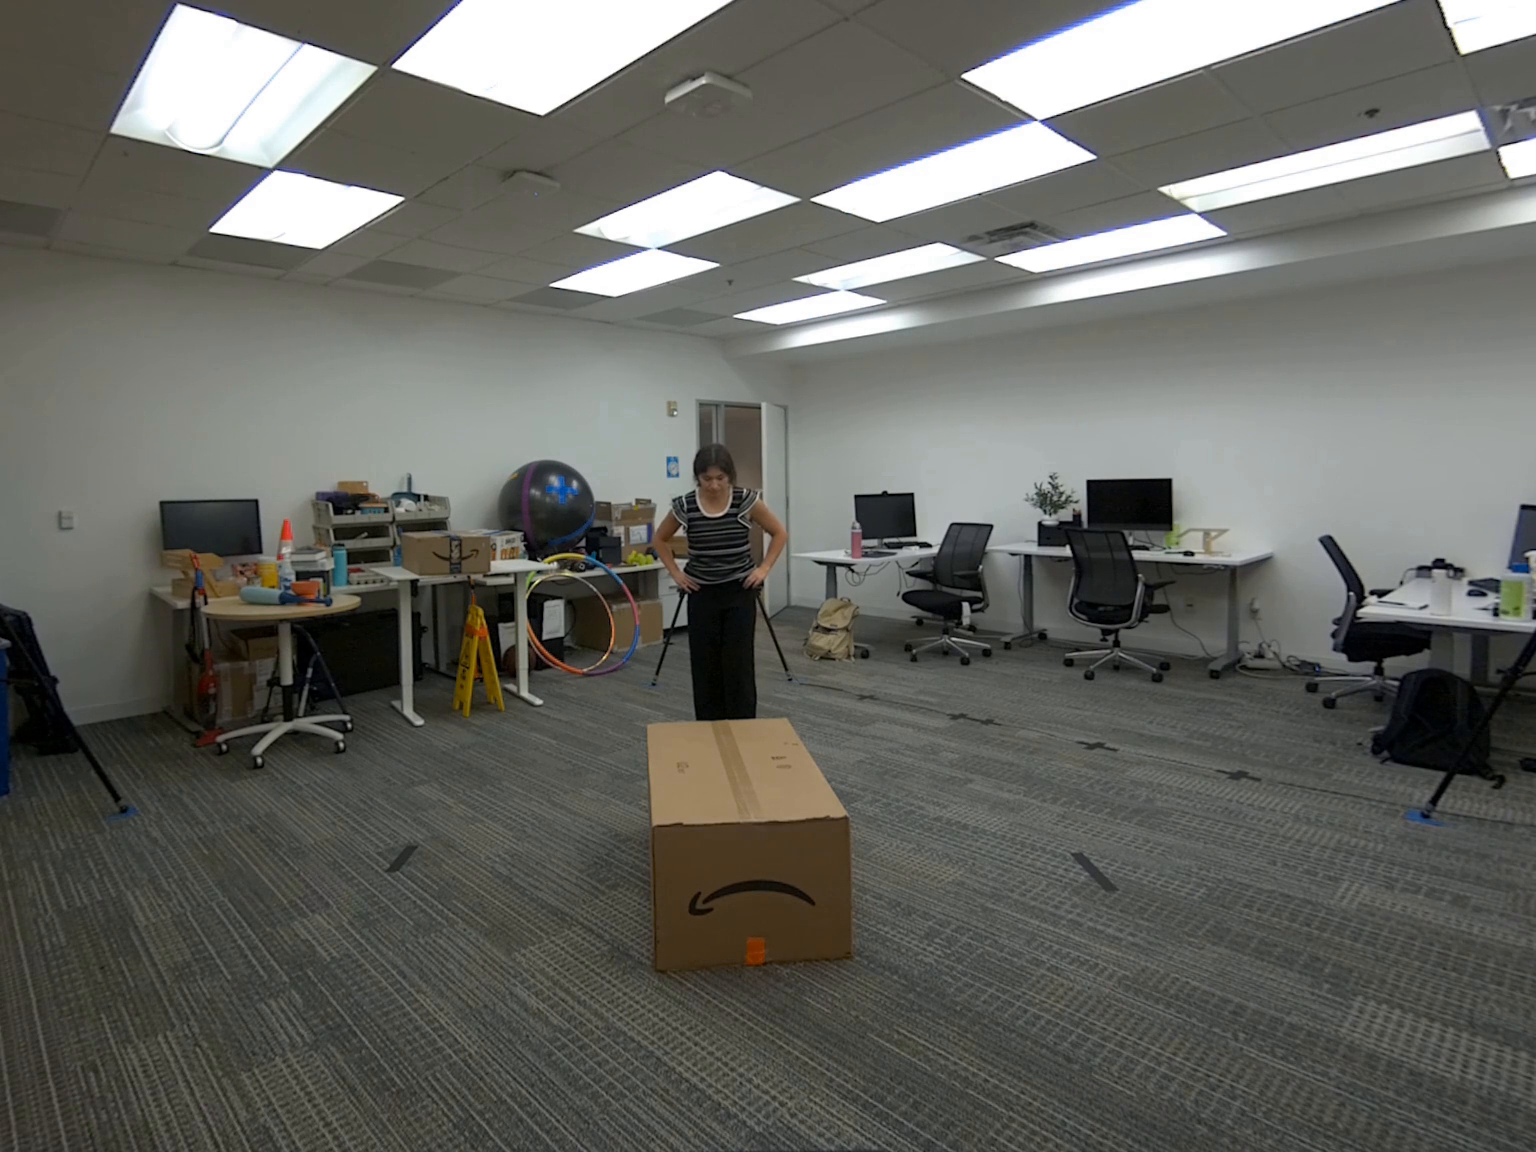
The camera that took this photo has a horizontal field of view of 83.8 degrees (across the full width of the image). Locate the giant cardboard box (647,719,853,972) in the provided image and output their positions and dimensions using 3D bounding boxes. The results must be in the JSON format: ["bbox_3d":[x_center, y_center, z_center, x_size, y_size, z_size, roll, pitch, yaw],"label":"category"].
[{"bbox_3d":[-0.124,0.853,2.949,0.574,0.424,1.038,-1,6,-8],"label":"giant cardboard box"}]
